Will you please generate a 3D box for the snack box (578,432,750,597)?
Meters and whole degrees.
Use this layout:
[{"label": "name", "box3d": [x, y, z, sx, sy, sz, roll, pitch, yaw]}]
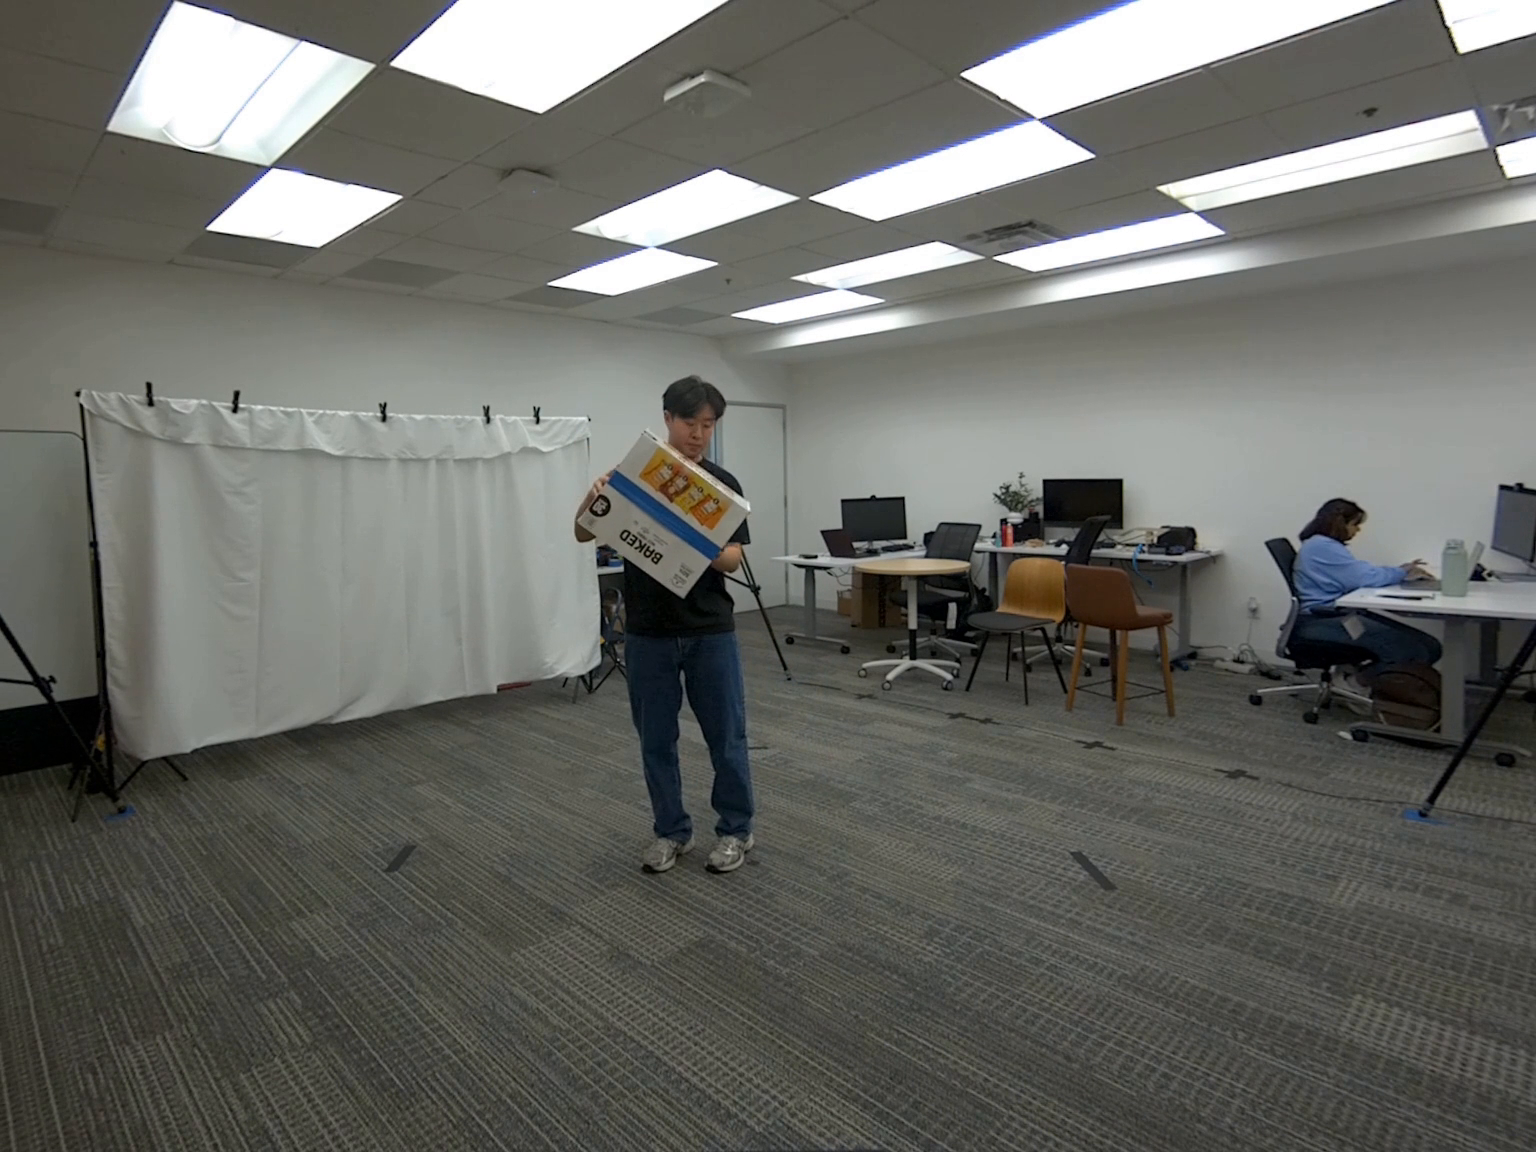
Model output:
[{"label": "snack box", "box3d": [-0.327, -0.194, 2.673, 0.402, 0.340, 0.207, 37, 9, -6]}]
